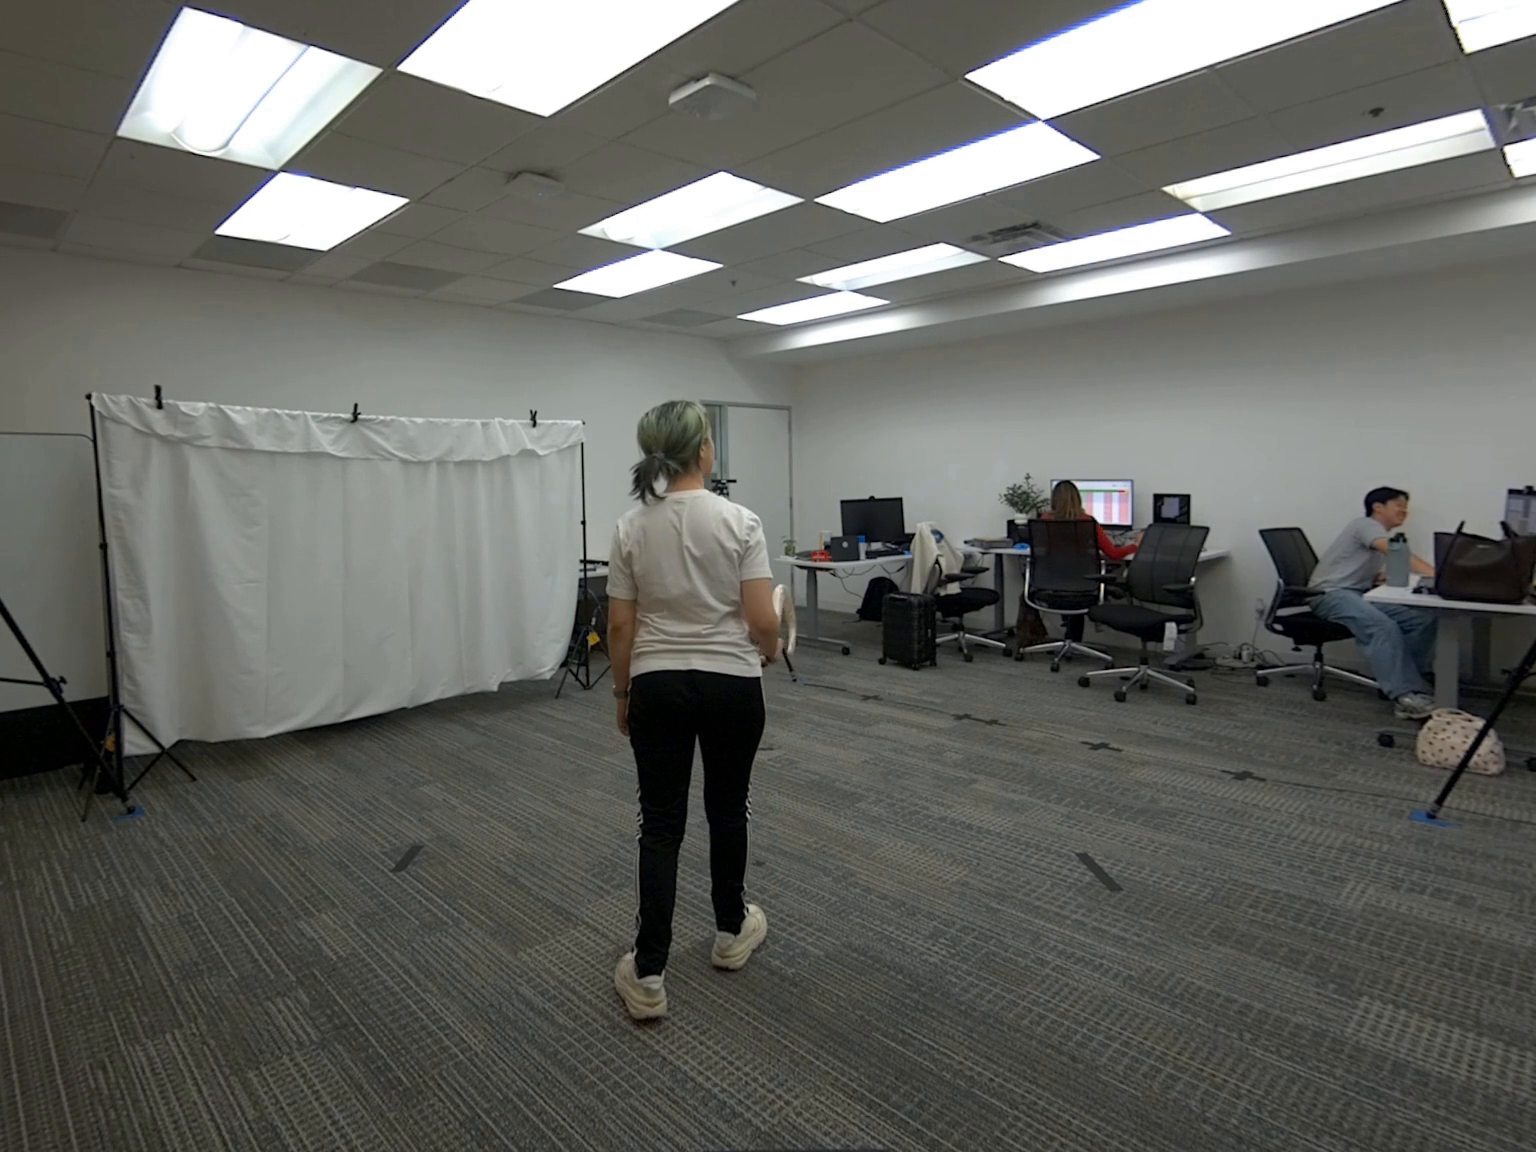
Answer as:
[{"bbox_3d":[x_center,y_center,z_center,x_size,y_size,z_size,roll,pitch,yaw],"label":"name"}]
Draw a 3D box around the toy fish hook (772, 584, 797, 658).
[{"bbox_3d":[0.043,0.200,2.745,0.049,0.220,0.511,-11,22,15],"label":"toy fish hook"}]
